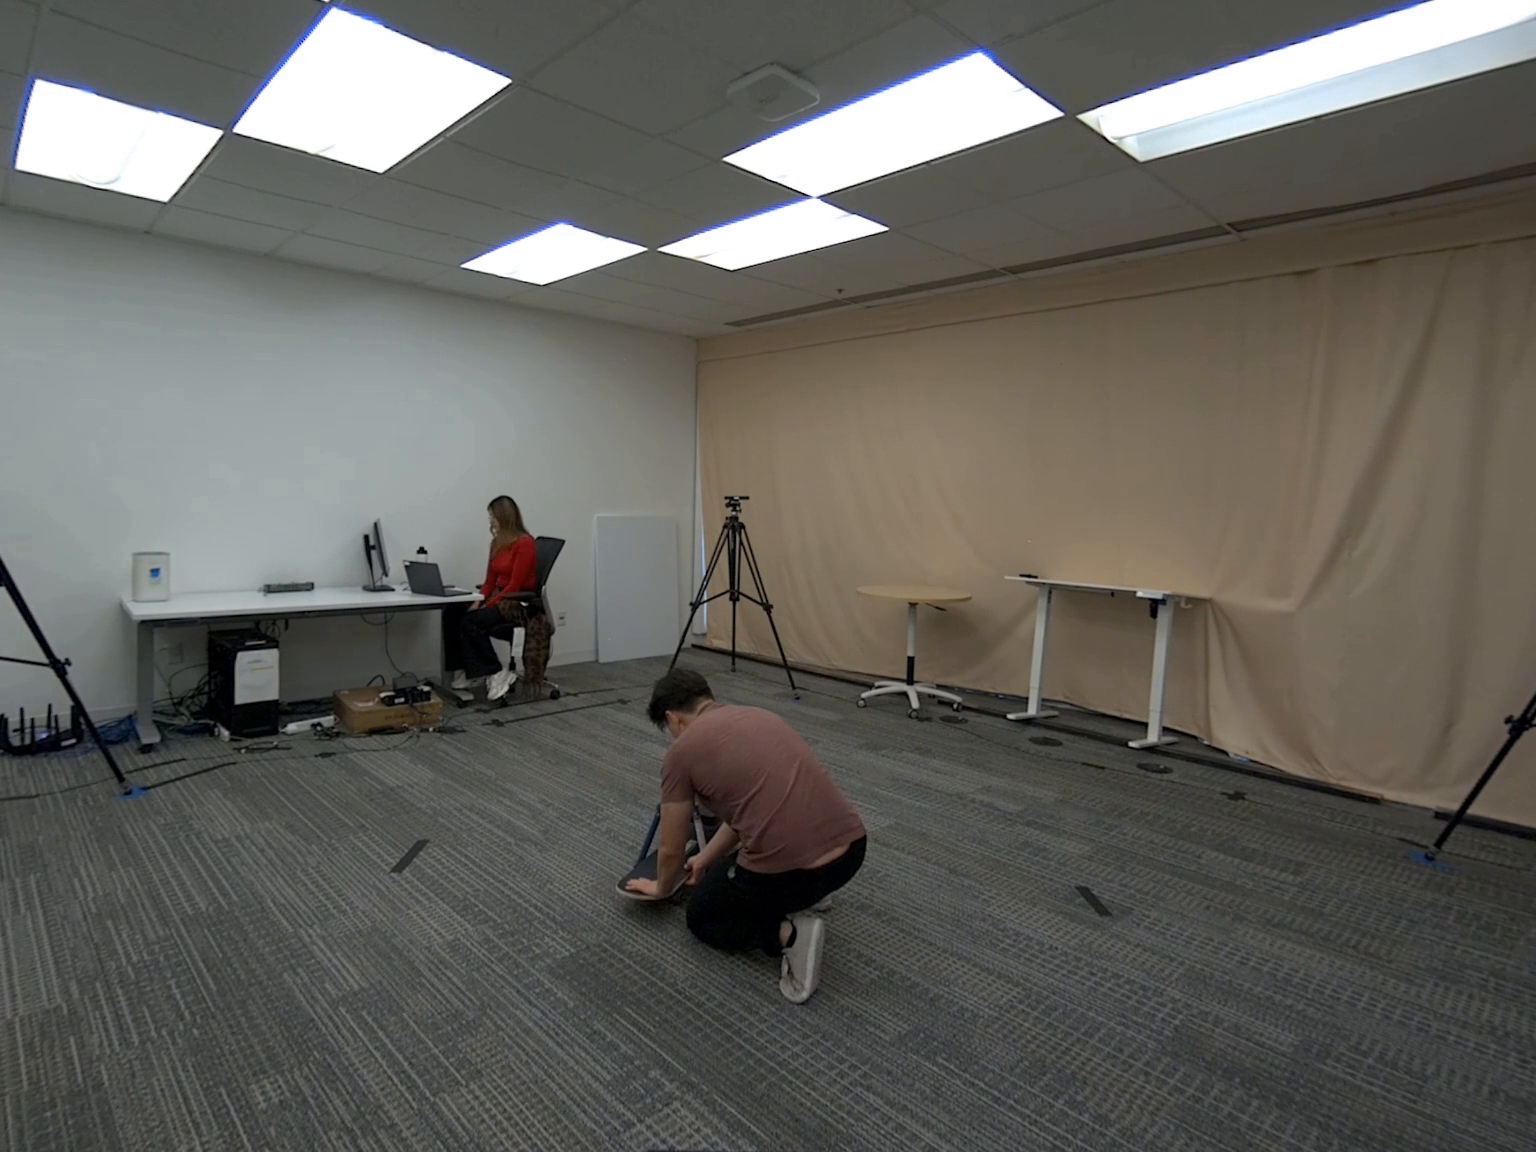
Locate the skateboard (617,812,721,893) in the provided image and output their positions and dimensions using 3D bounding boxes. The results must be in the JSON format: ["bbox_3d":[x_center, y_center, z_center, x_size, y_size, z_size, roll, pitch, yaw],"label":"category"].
[{"bbox_3d":[-0.317,1.043,3.091,0.196,0.110,0.776,4,7,18],"label":"skateboard"}]
